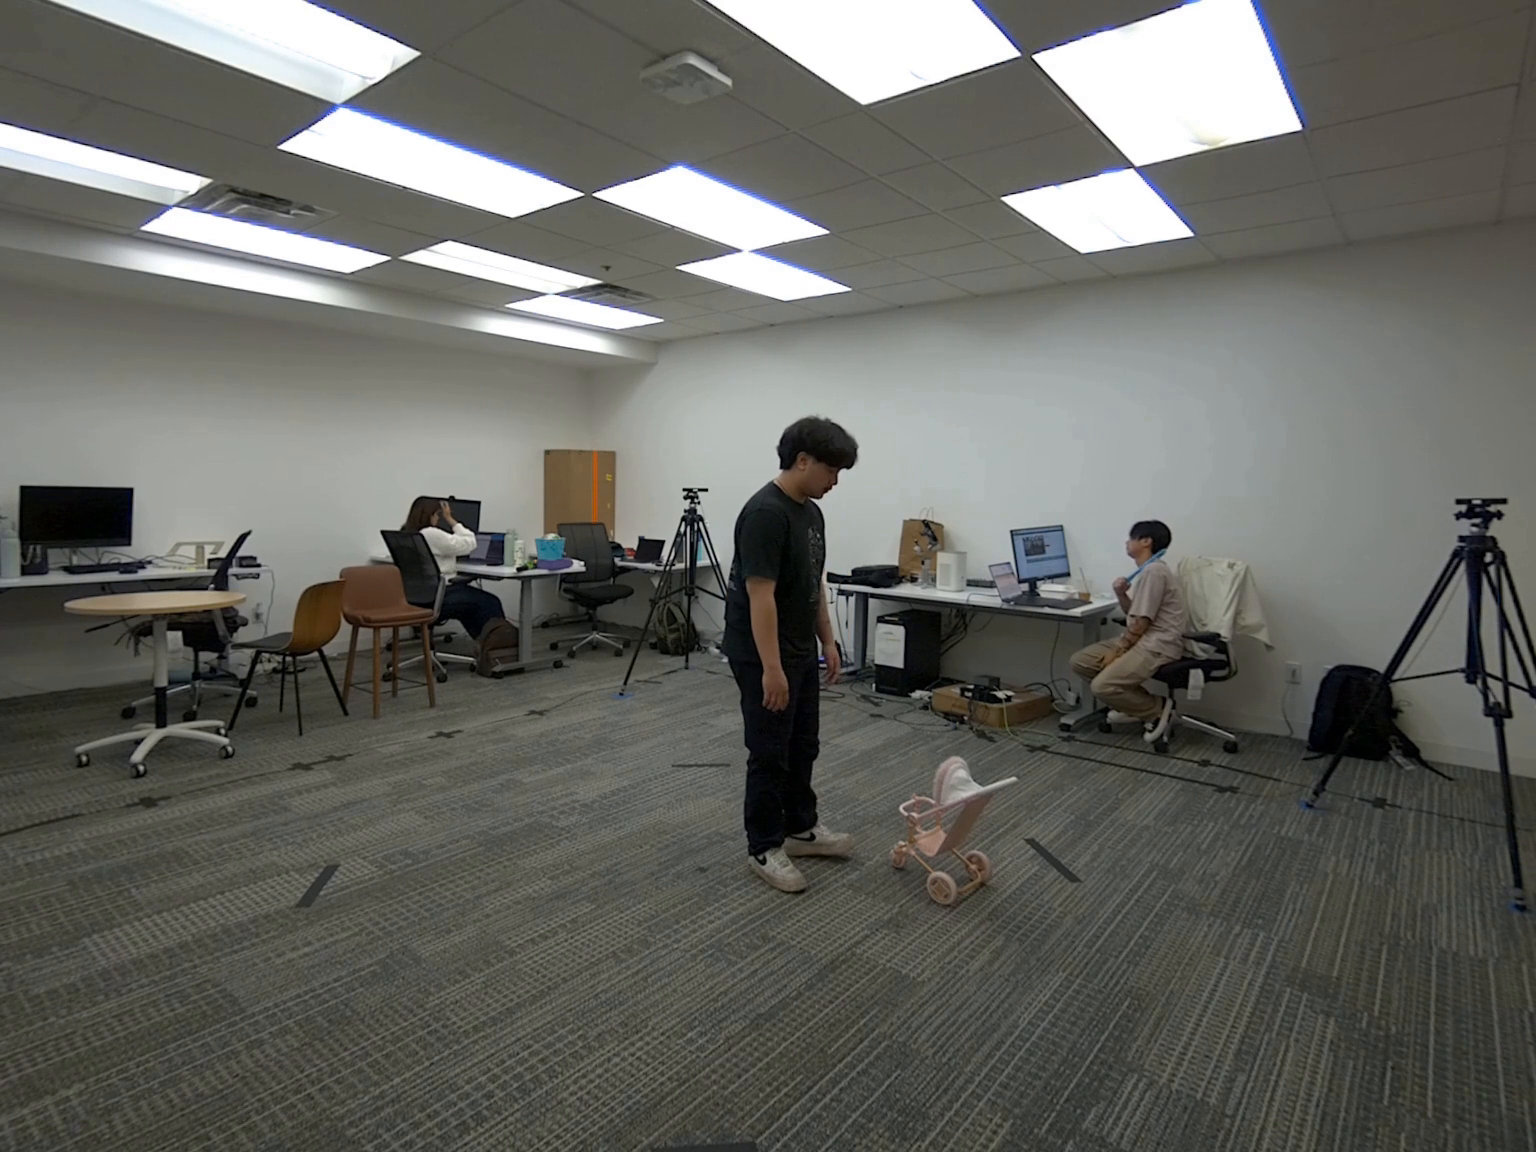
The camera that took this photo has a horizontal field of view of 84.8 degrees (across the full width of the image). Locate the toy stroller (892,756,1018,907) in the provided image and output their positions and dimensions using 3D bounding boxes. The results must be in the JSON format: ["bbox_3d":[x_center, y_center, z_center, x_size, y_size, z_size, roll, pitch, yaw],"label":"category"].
[{"bbox_3d":[0.627,0.875,3.017,0.273,0.529,0.356,-1,20,-43],"label":"toy stroller"}]
